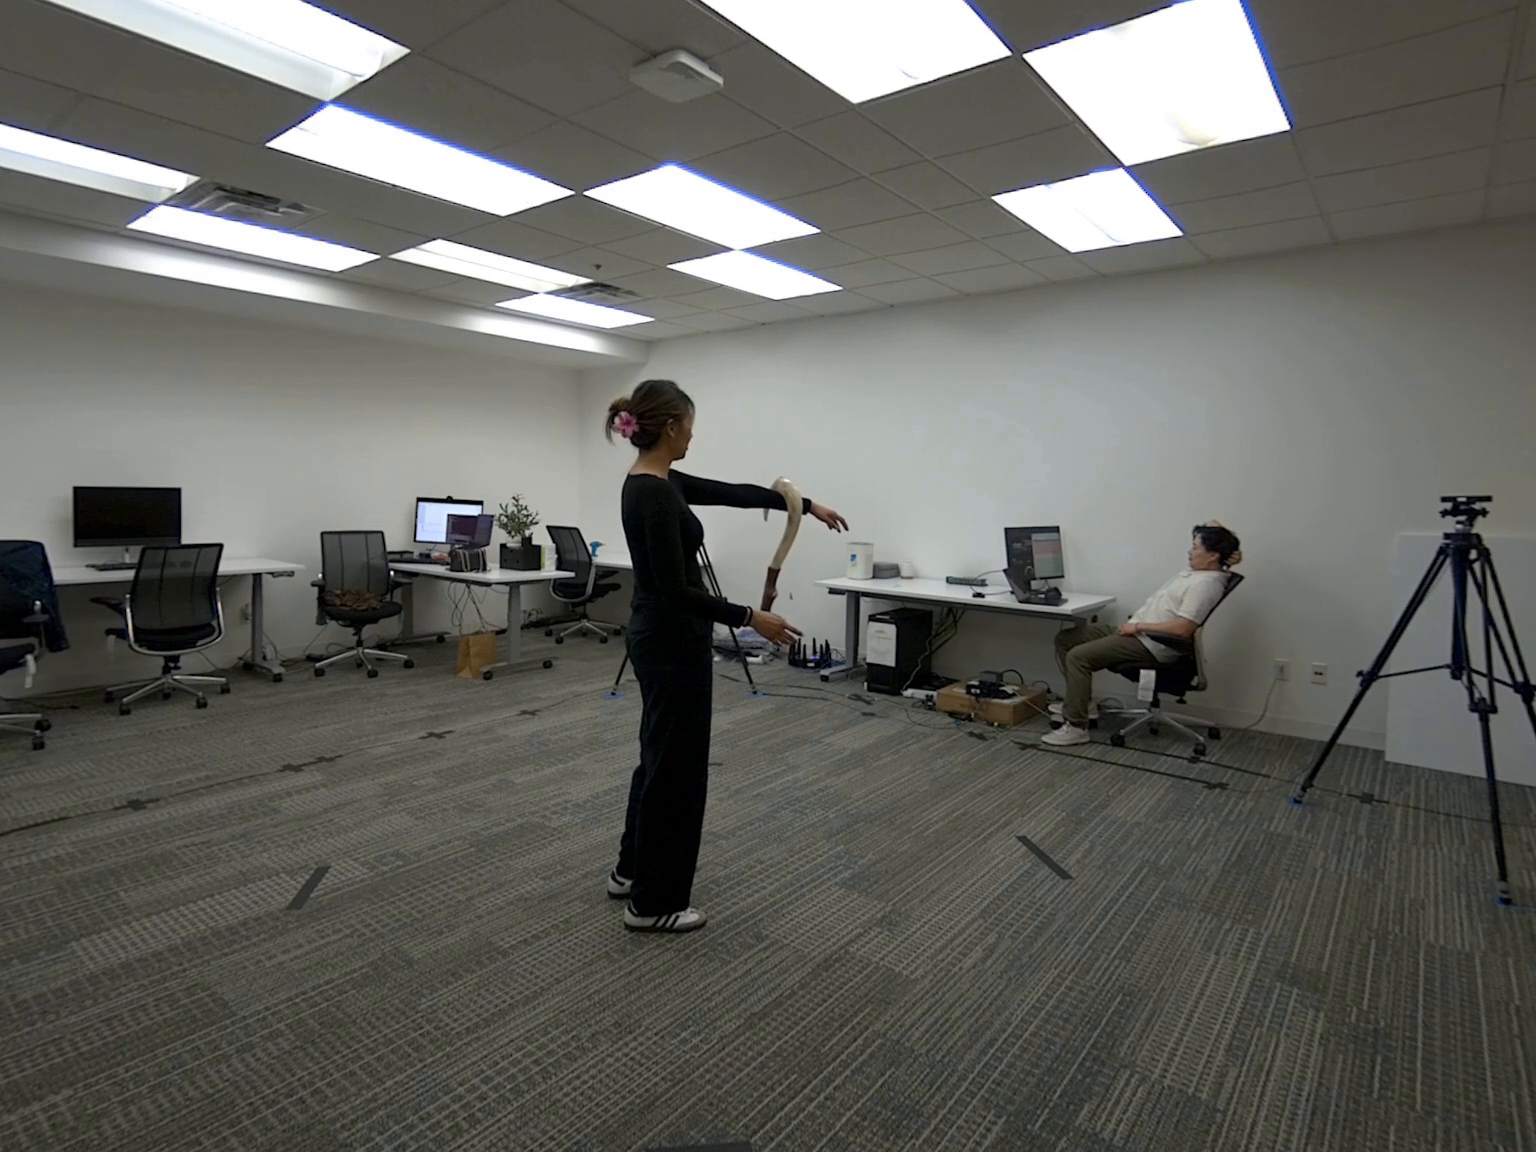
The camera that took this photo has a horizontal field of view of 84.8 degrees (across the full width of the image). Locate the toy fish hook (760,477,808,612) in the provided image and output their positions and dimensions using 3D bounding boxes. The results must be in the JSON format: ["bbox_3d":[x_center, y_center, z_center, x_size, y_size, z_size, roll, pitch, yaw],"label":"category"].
[{"bbox_3d":[0.009,-0.105,2.955,0.047,0.499,0.233,2,25,-26],"label":"toy fish hook"}]
